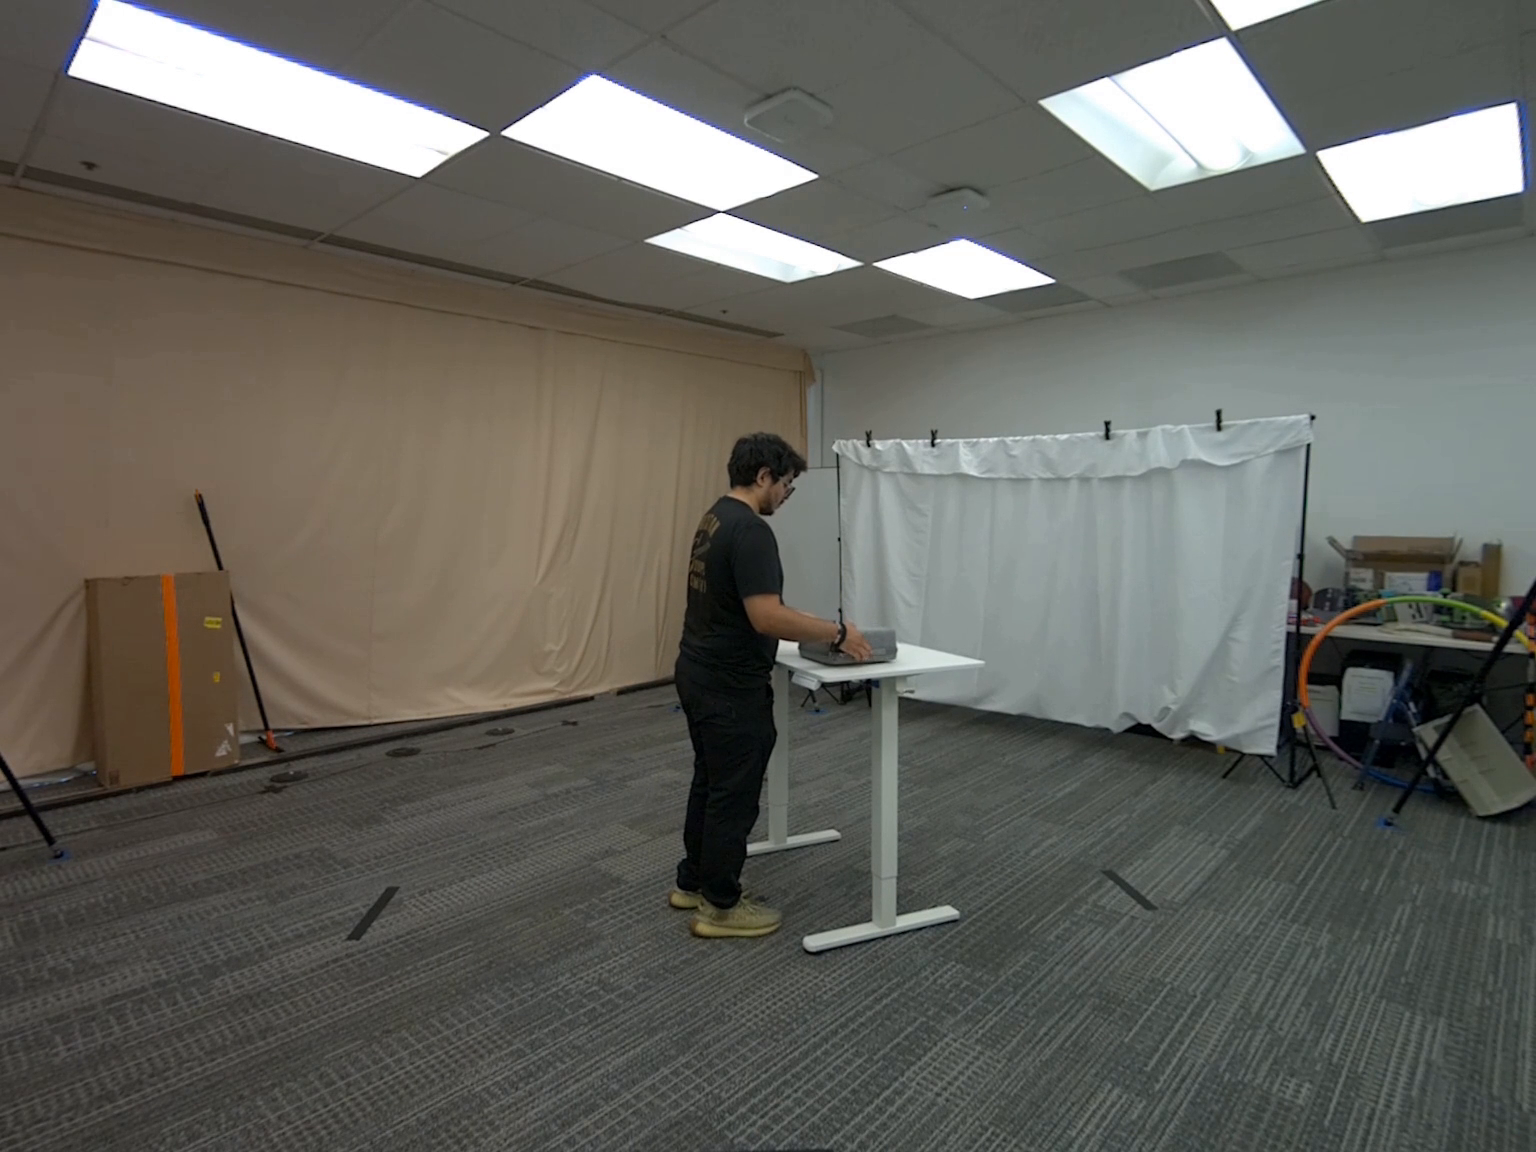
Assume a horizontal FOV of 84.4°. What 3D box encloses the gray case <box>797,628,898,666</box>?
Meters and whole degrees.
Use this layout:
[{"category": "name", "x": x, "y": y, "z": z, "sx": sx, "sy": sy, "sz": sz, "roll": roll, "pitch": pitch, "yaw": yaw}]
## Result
[{"category": "gray case", "x": 0.263, "y": 0.222, "z": 2.762, "sx": 0.251, "sy": 0.104, "sz": 0.266, "roll": 0, "pitch": -2, "yaw": -22}]
